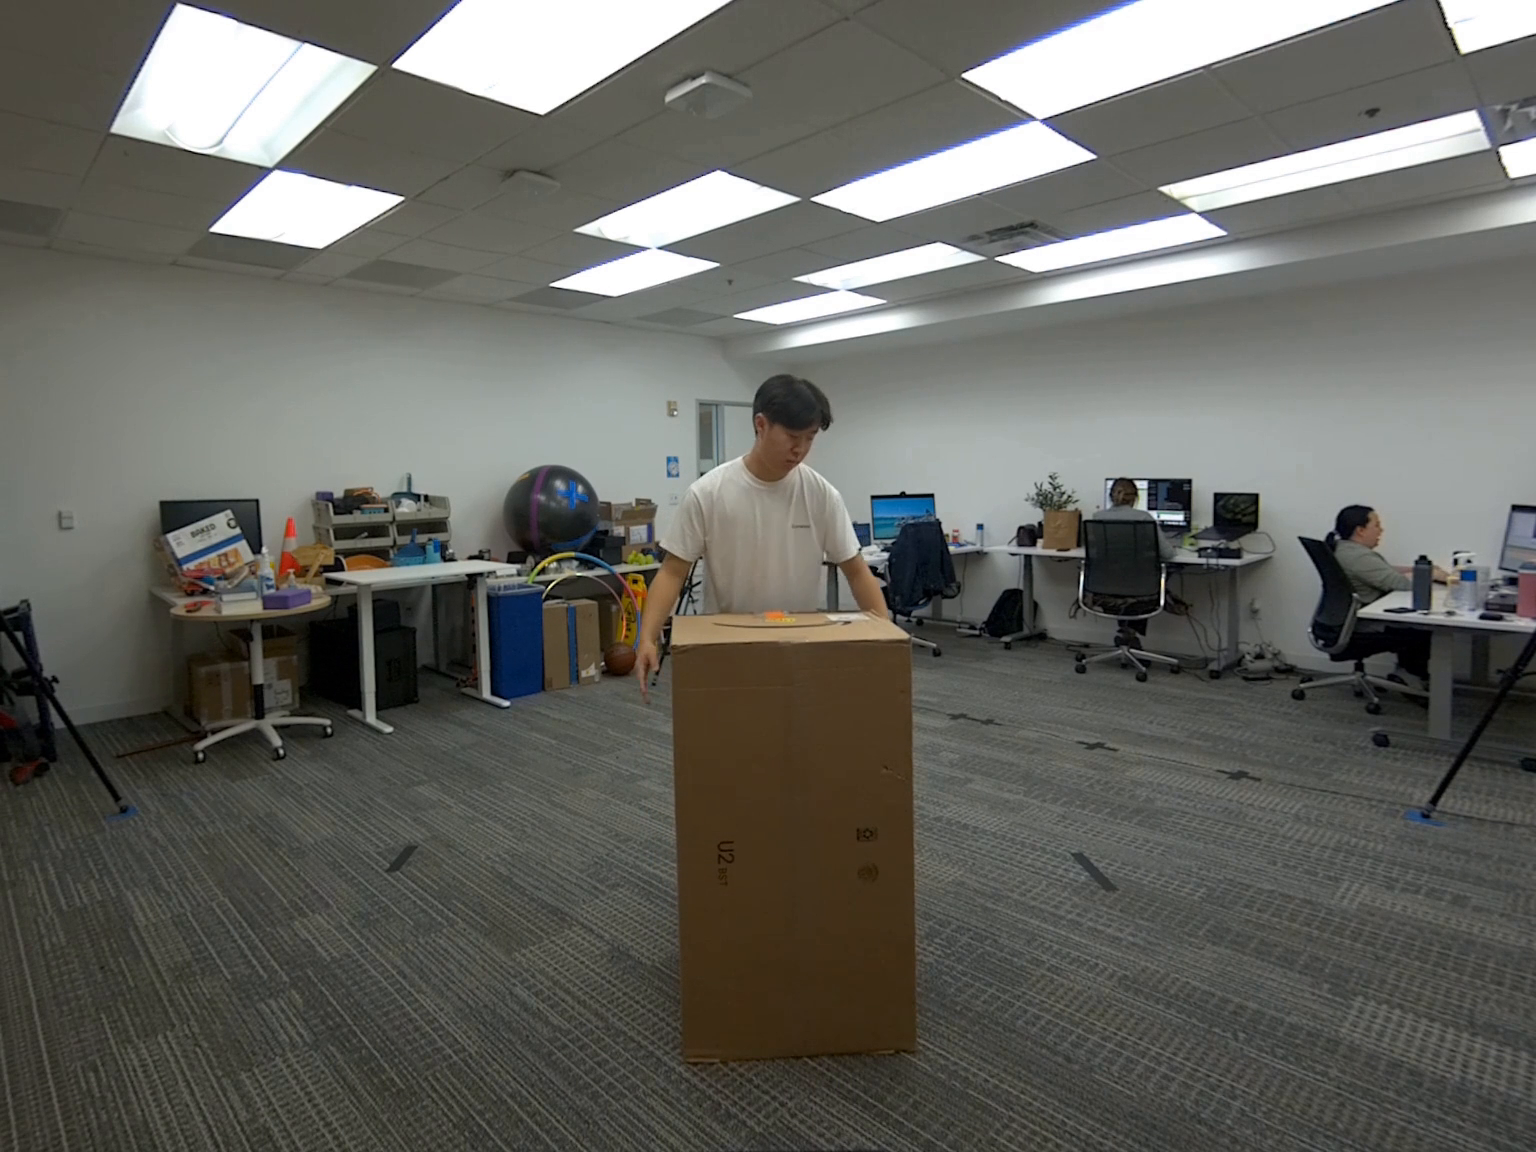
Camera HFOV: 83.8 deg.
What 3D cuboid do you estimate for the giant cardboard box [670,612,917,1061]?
[{"bbox_3d":[0.058,0.638,2.237,0.576,1.022,0.429,-2,4,-3],"label":"giant cardboard box"}]
